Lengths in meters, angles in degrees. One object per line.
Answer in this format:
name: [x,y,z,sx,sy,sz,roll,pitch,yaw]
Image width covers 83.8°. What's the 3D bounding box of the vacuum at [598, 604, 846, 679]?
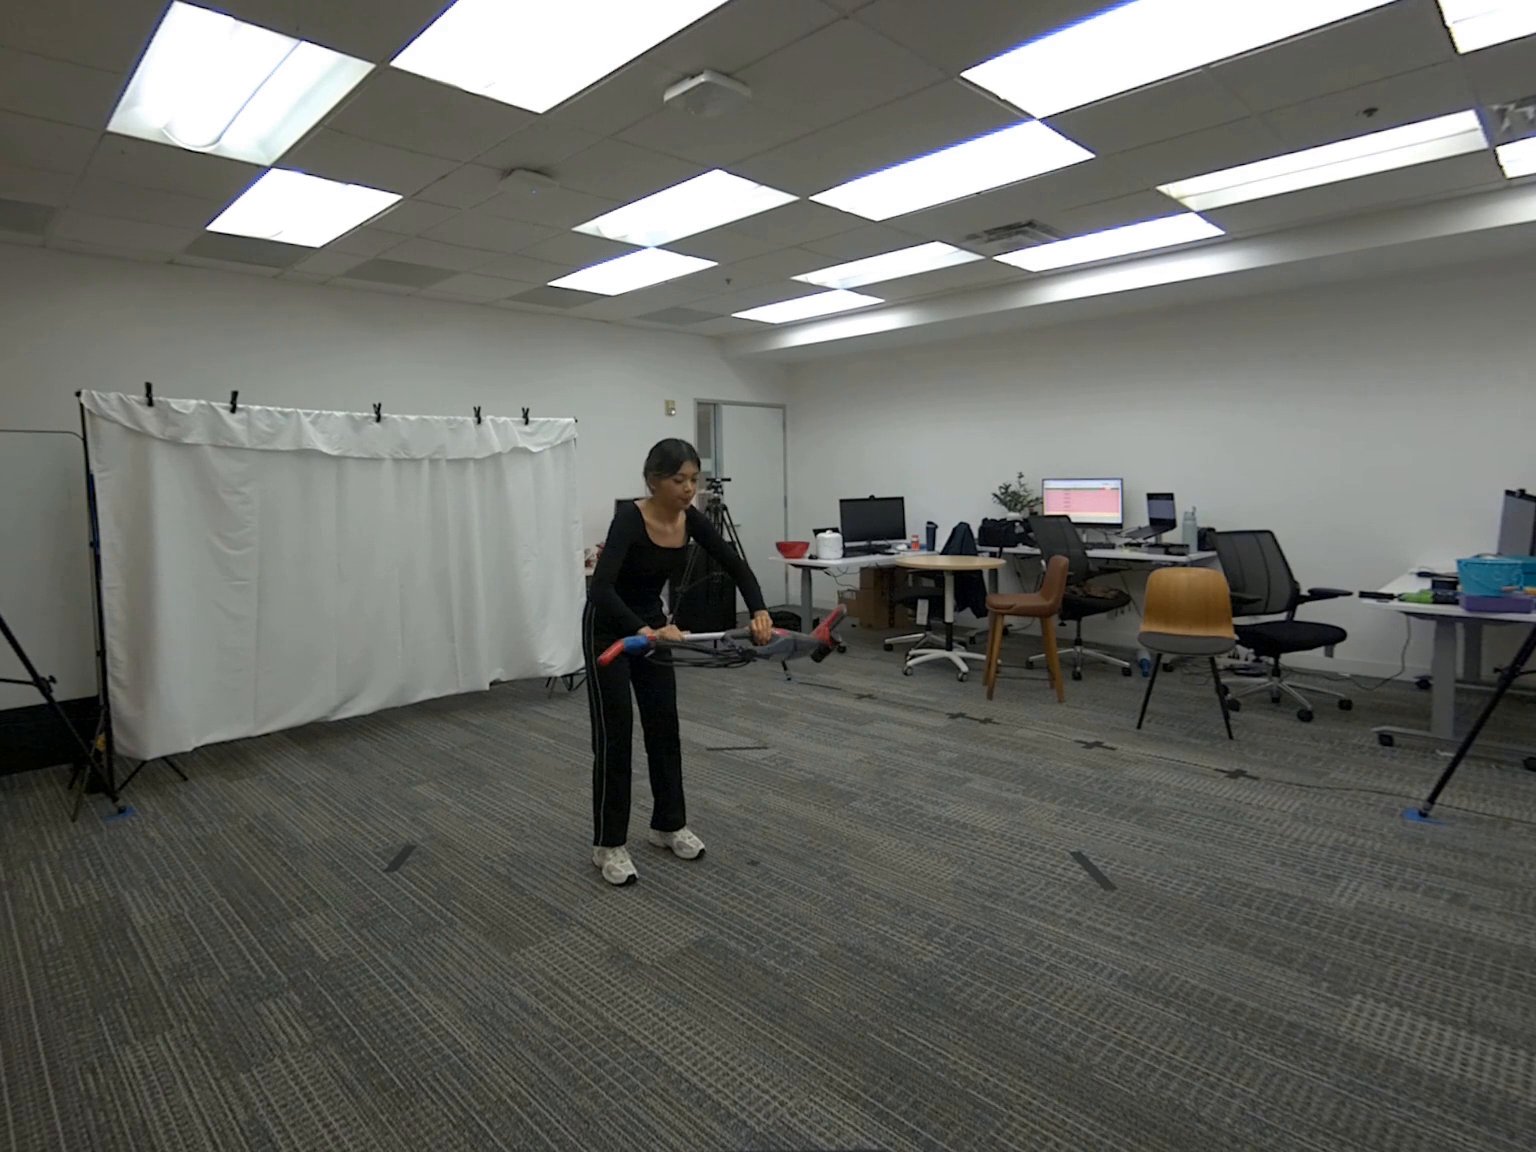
vacuum: [-0.135,0.233,2.801,1.019,0.148,0.252,0,-38,-45]
